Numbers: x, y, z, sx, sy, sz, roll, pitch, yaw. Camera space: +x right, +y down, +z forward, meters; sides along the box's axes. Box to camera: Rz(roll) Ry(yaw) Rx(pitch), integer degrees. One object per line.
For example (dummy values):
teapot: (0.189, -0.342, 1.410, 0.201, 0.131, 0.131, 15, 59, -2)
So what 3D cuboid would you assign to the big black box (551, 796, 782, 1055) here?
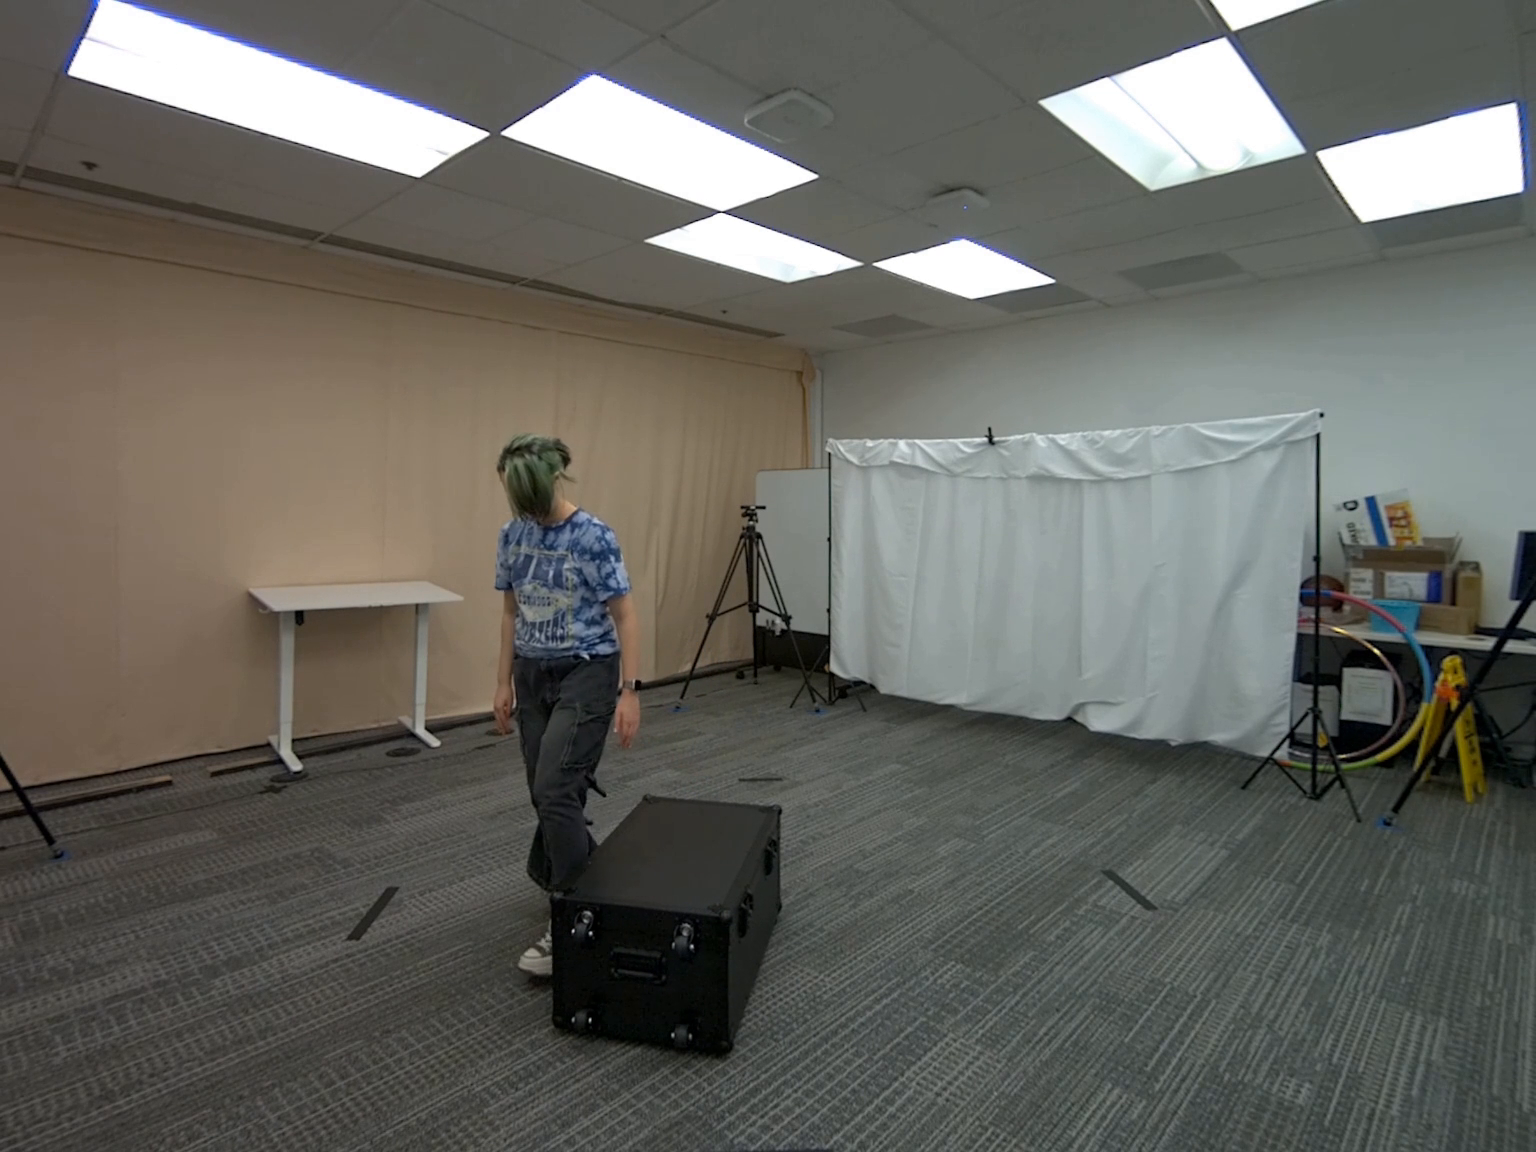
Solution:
big black box: (-0.266, 0.993, 2.494, 0.528, 0.395, 0.851, 1, 4, 11)
